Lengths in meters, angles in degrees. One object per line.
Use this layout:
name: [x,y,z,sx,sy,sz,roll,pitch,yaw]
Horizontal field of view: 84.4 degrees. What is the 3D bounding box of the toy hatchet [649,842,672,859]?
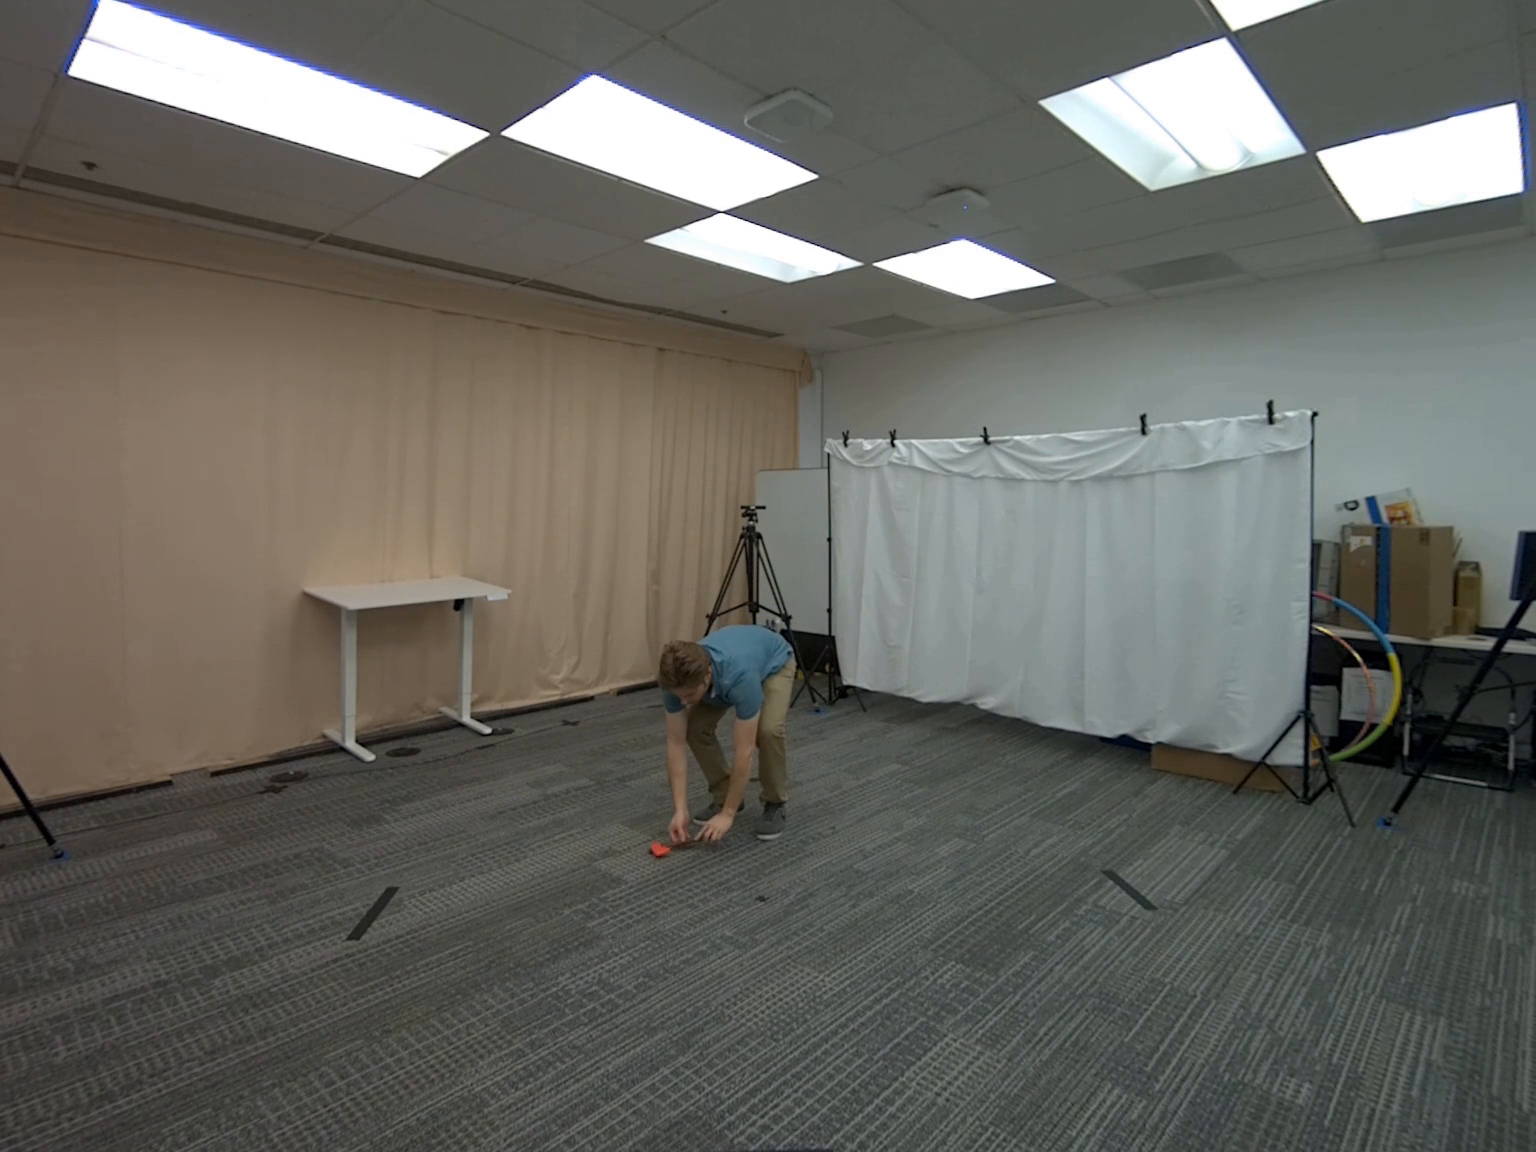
toy hatchet: [-0.344,1.083,3.374,0.272,0.029,0.130,-6,0,5]
